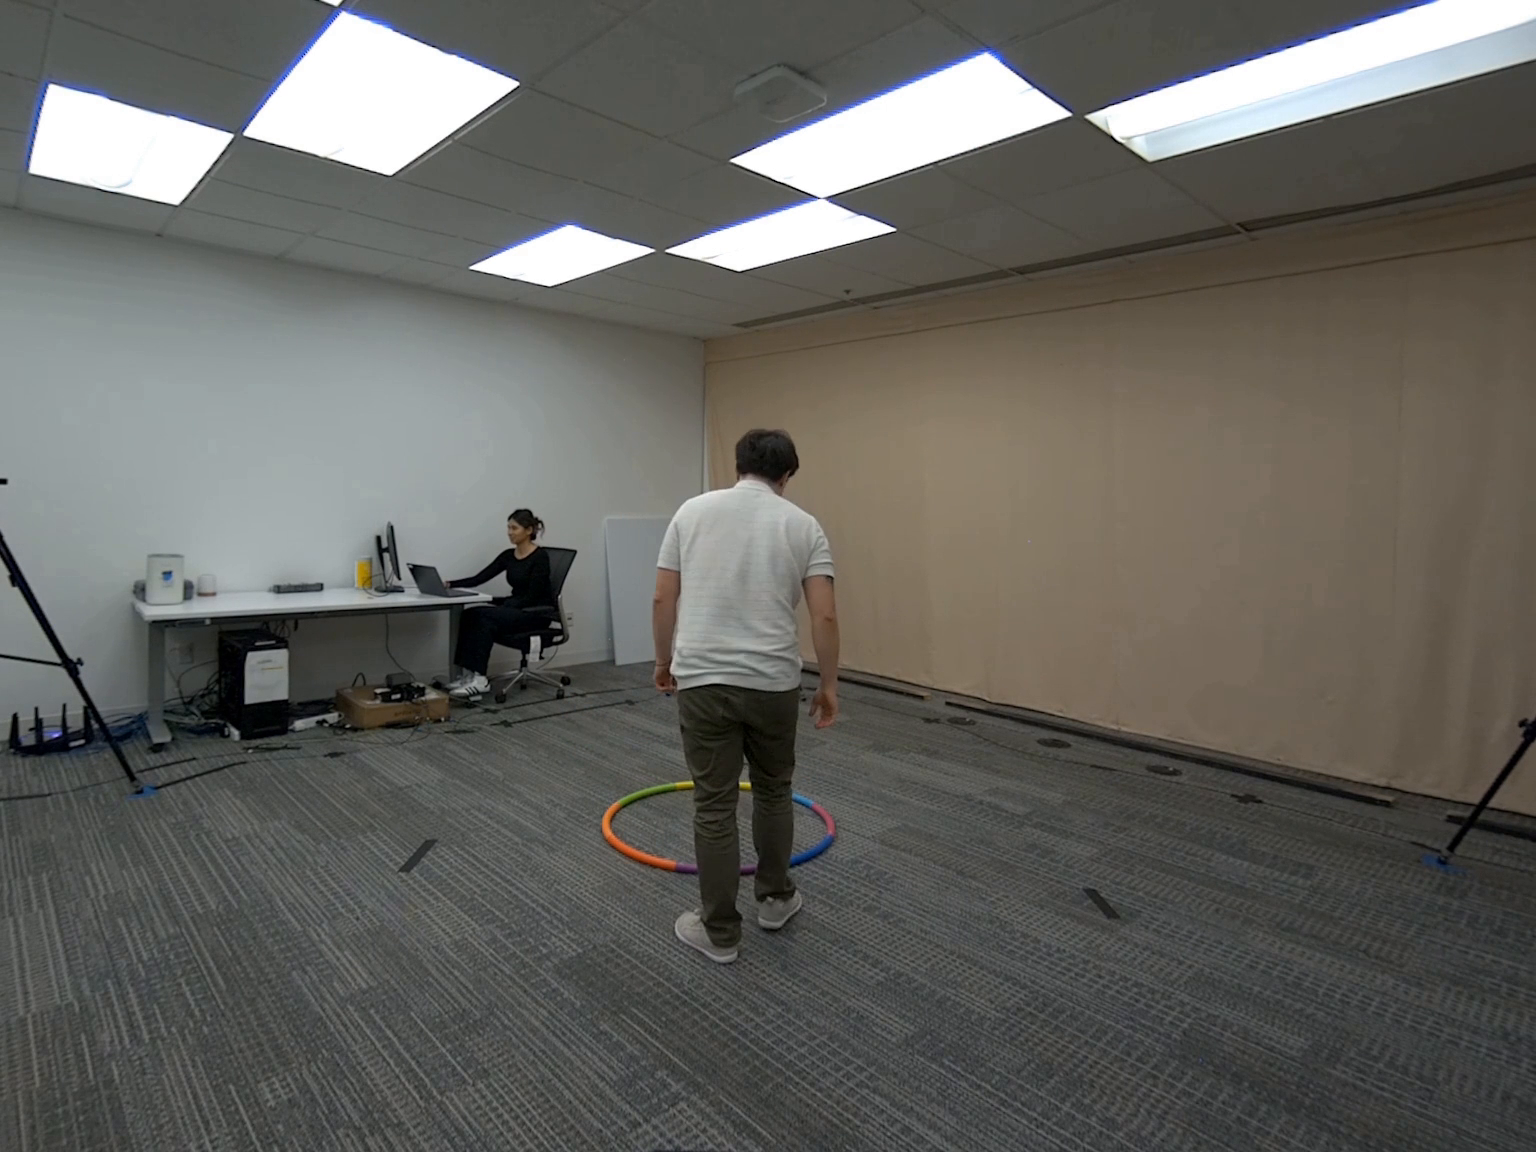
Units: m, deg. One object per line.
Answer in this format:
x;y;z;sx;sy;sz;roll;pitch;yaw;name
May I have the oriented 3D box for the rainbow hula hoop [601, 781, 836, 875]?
-0.218;1.033;3.581;0.978;0.035;0.982;1;5;-1;rainbow hula hoop
